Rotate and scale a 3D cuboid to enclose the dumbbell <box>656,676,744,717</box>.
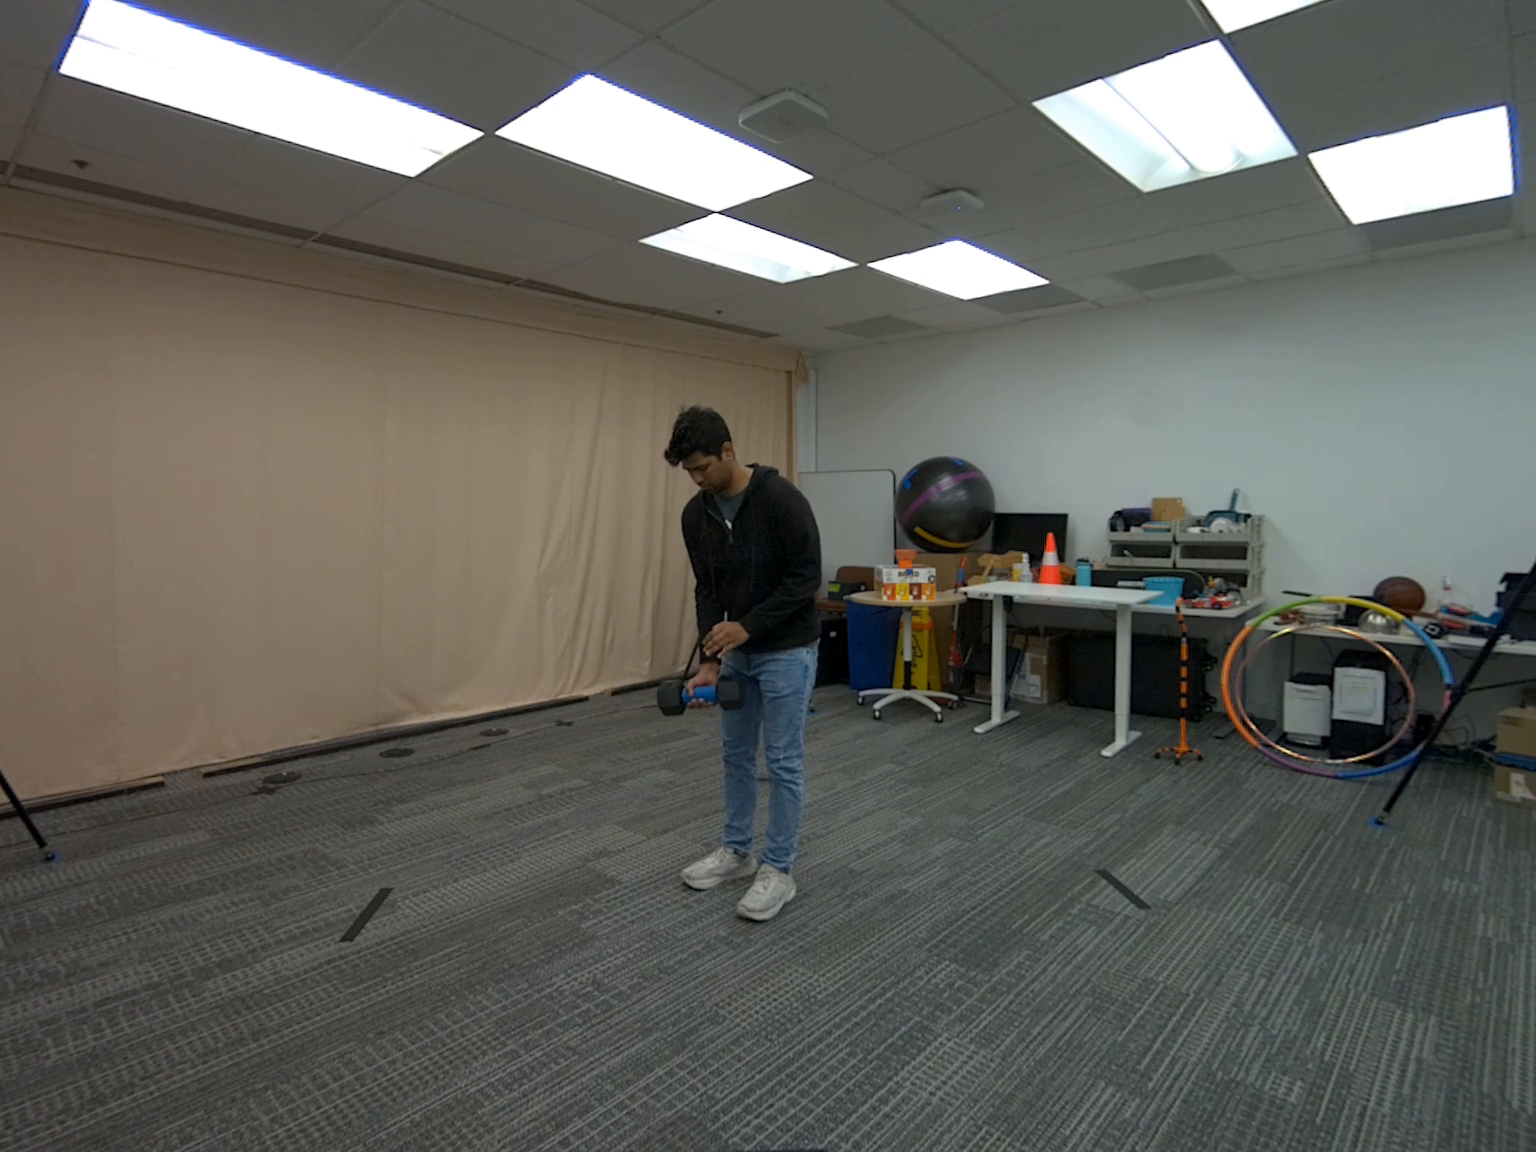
[{"bbox_3d":[-0.227,0.414,2.871,0.297,0.124,0.106,-7,-13,14],"label":"dumbbell"}]
